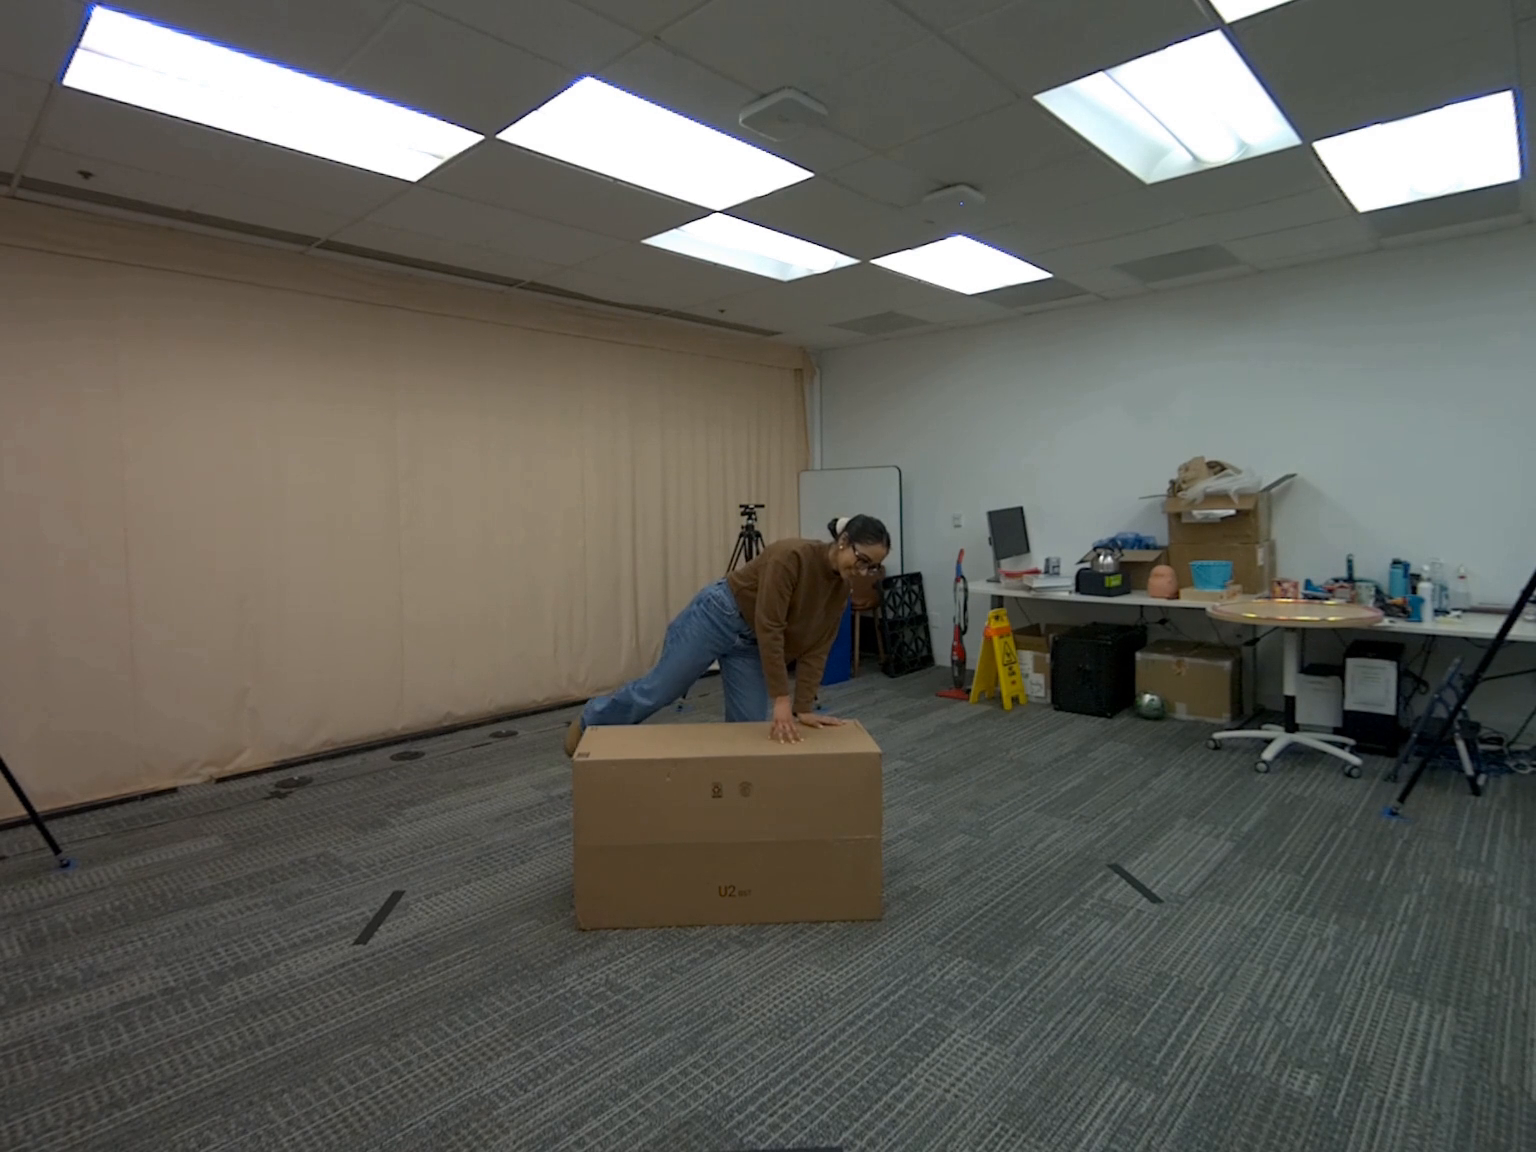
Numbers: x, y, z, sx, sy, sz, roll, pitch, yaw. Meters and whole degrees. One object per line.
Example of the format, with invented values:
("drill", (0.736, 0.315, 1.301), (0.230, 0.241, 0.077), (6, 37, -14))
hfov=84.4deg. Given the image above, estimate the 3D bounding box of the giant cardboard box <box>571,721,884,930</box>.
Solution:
("giant cardboard box", (-0.148, 0.857, 2.984), (1.025, 0.582, 0.449), (-1, 4, -2))
